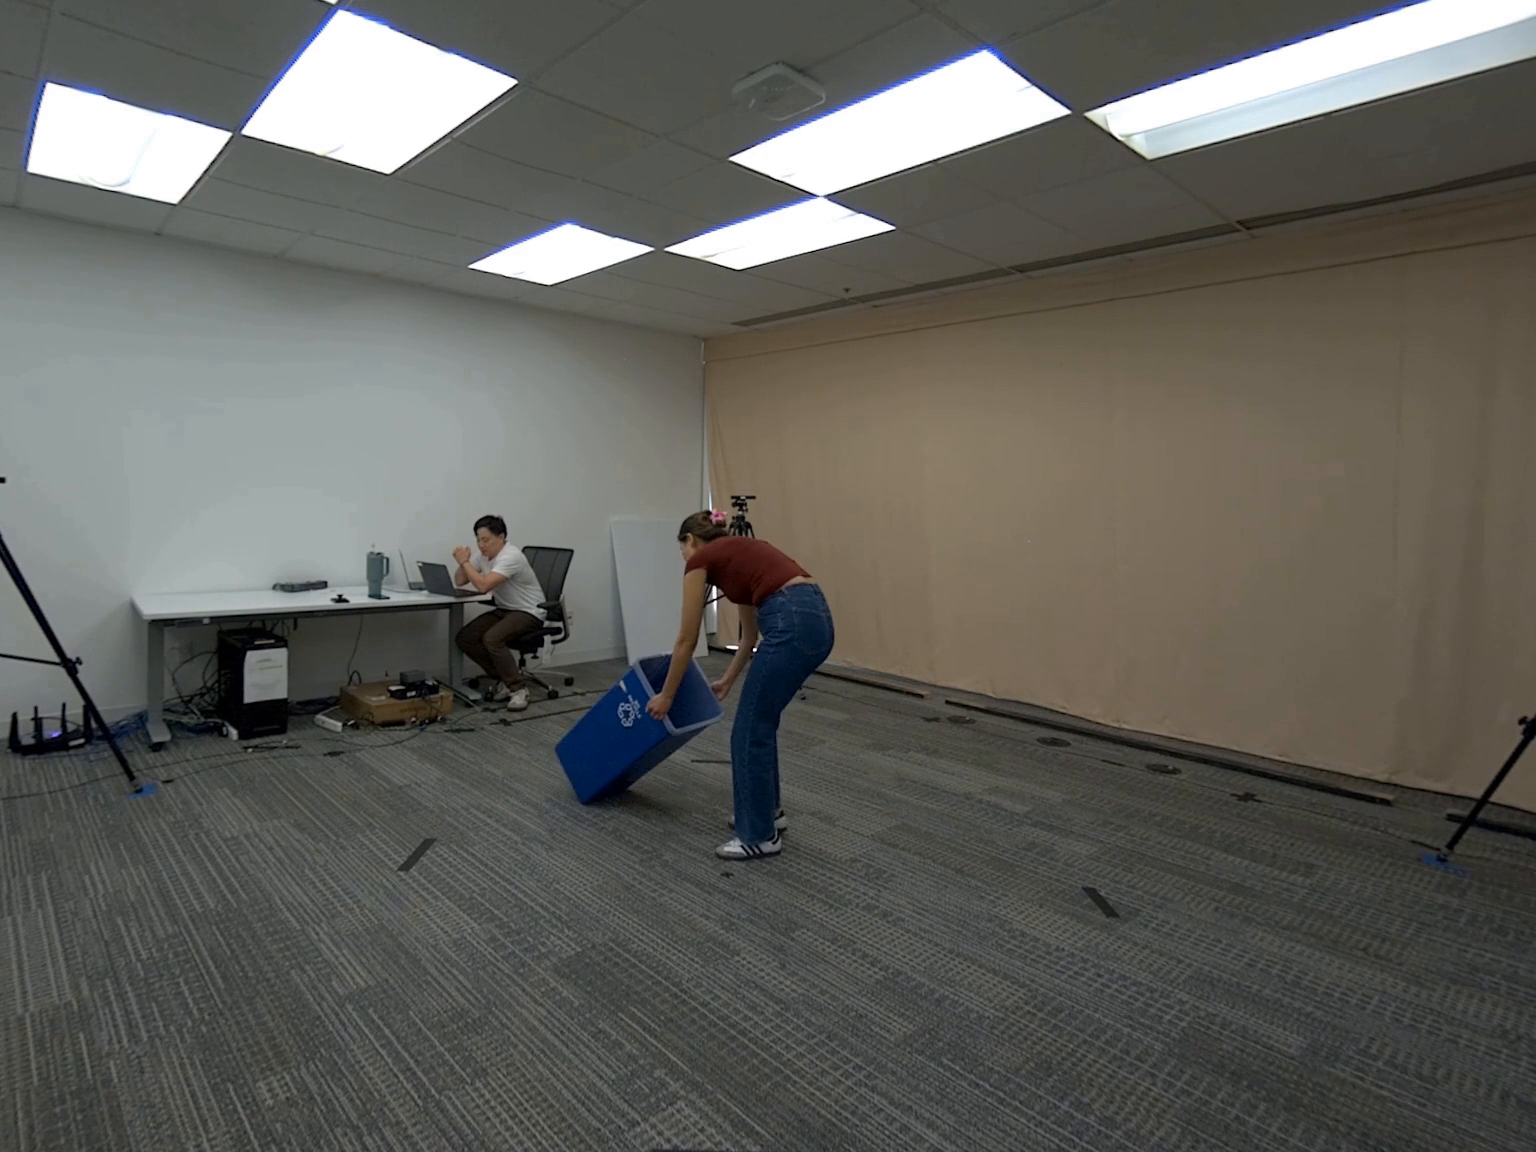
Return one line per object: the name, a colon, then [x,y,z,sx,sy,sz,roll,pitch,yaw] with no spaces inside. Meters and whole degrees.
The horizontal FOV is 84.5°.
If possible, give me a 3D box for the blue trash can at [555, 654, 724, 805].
blue trash can: [-0.587,0.692,3.754,0.714,0.382,0.370,-44,-22,29]
